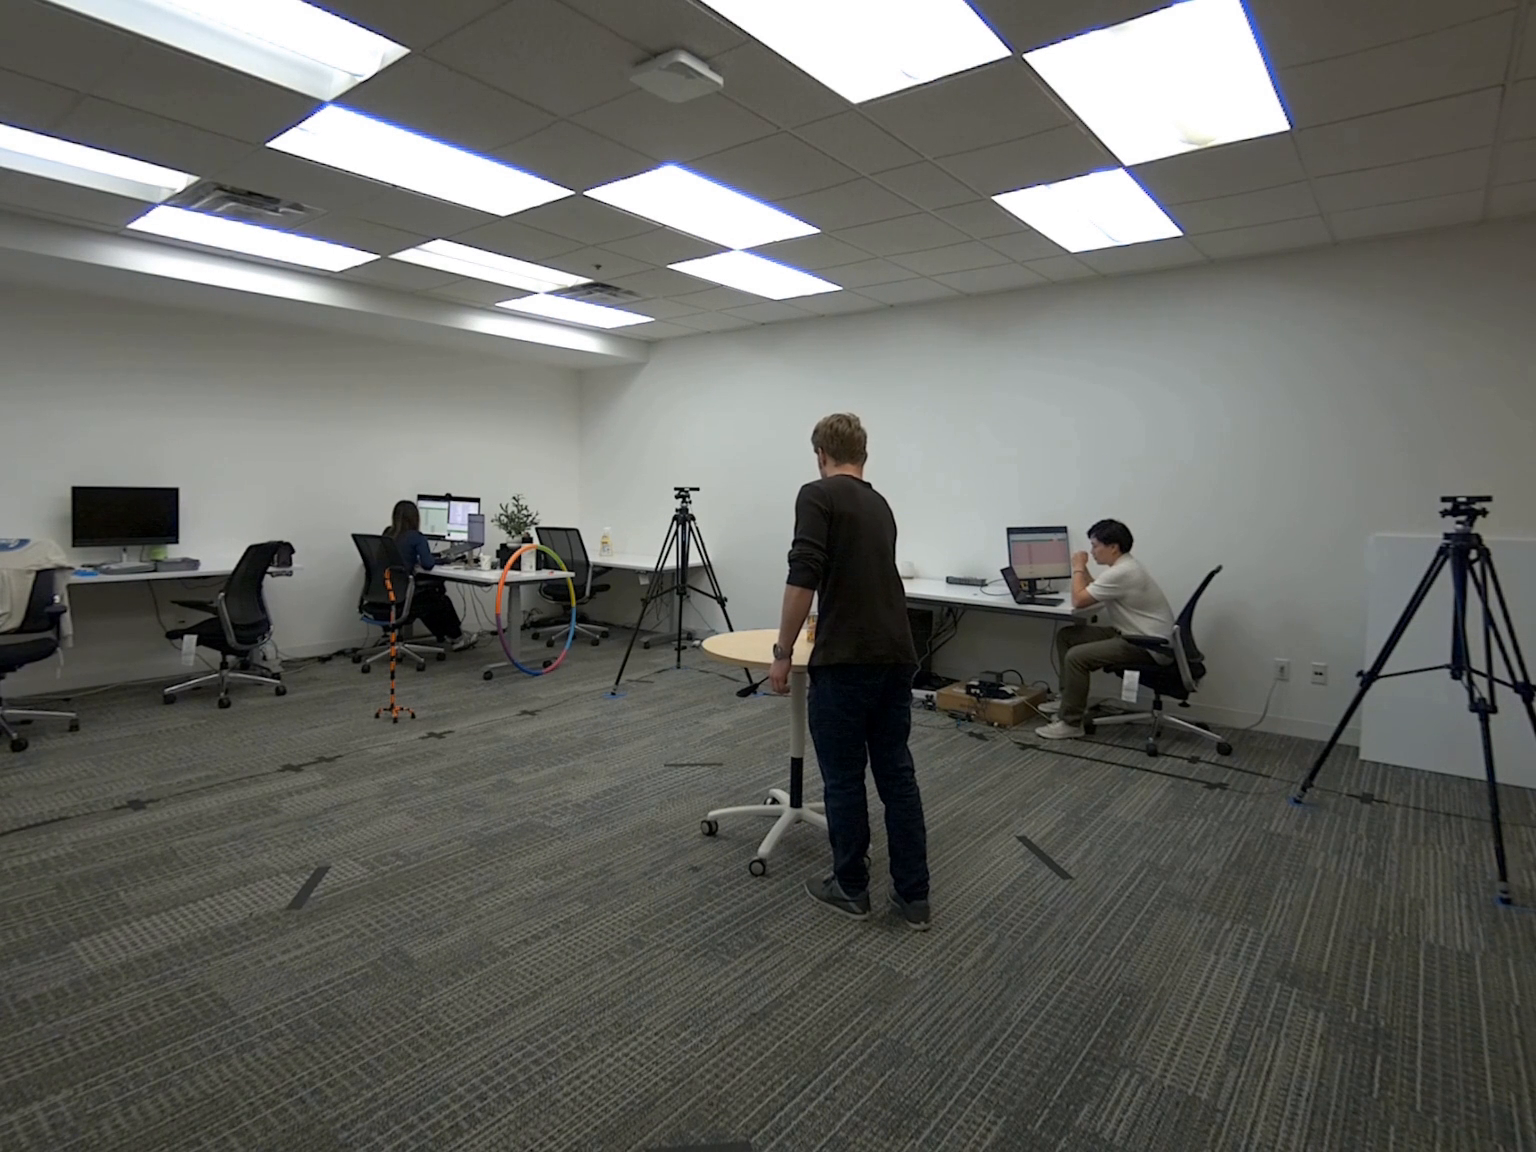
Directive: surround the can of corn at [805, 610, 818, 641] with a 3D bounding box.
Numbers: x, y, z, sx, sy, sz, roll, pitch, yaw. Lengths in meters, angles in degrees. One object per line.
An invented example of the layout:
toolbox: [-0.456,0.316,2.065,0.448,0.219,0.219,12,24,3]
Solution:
can of corn: [0.193,0.203,3.422,0.074,0.111,0.074,3,3,-2]
